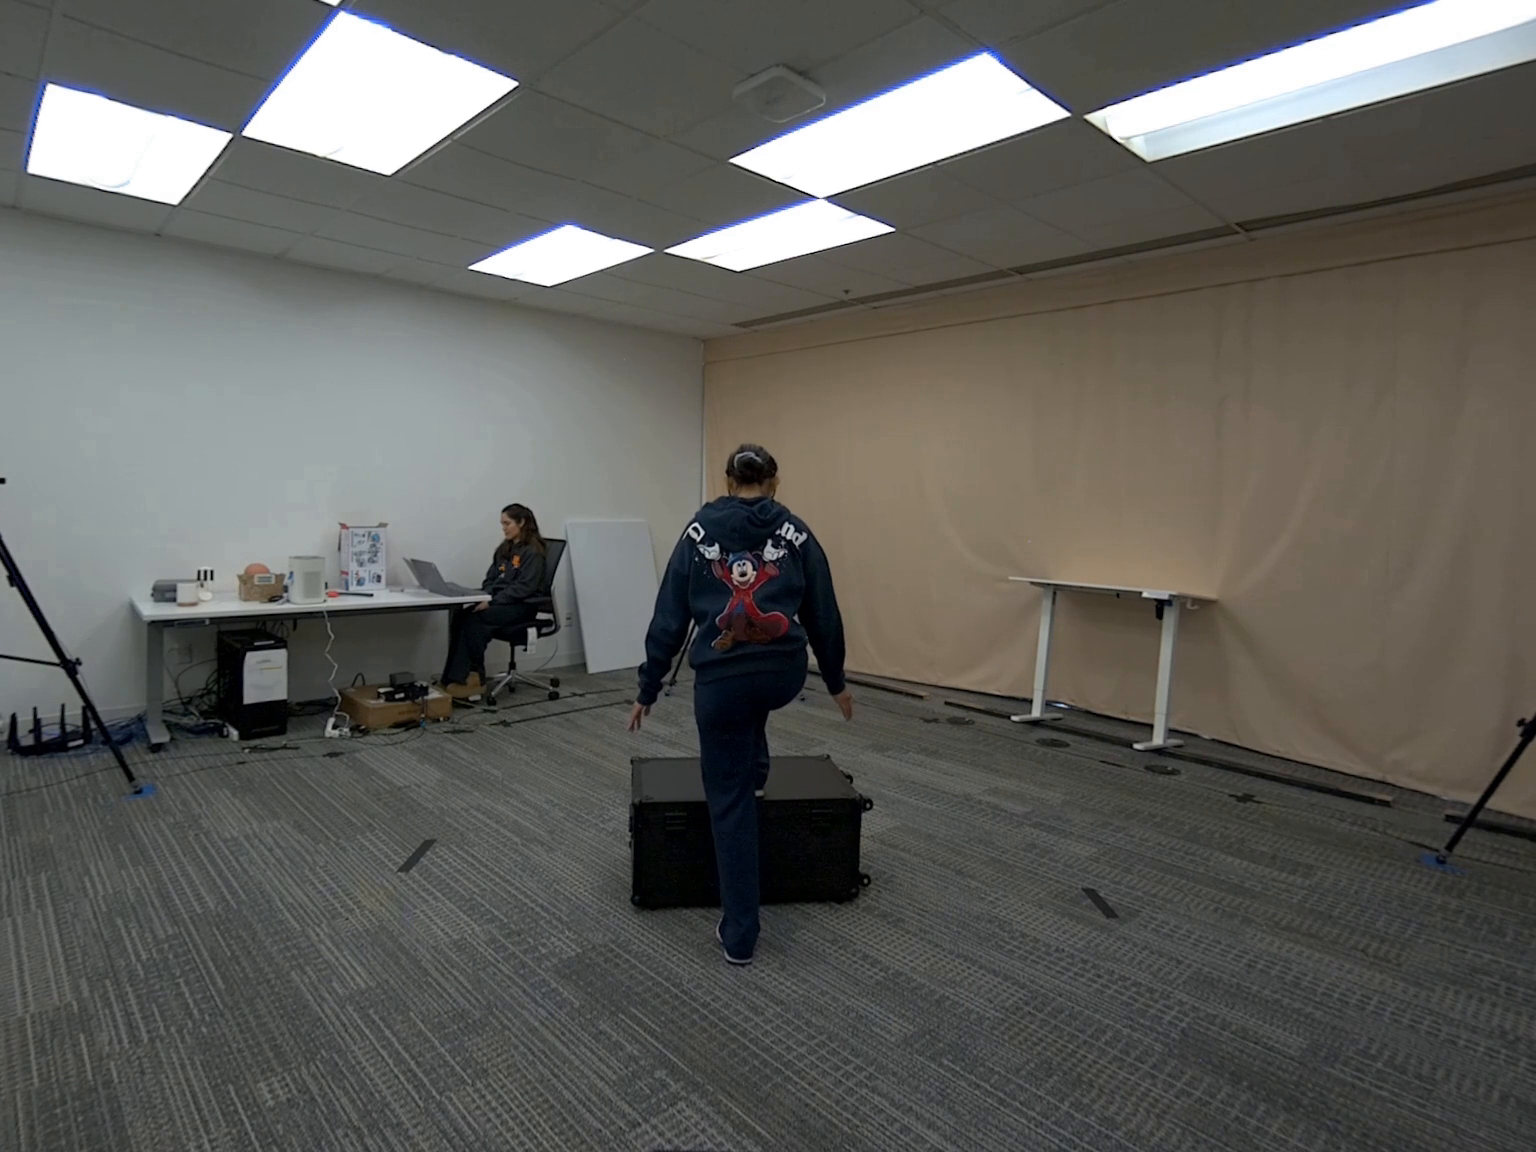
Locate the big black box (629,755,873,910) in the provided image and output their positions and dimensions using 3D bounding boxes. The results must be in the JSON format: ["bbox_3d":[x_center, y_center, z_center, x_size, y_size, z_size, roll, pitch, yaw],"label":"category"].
[{"bbox_3d":[-0.077,0.920,3.091,0.855,0.395,0.526,1,5,-9],"label":"big black box"}]
